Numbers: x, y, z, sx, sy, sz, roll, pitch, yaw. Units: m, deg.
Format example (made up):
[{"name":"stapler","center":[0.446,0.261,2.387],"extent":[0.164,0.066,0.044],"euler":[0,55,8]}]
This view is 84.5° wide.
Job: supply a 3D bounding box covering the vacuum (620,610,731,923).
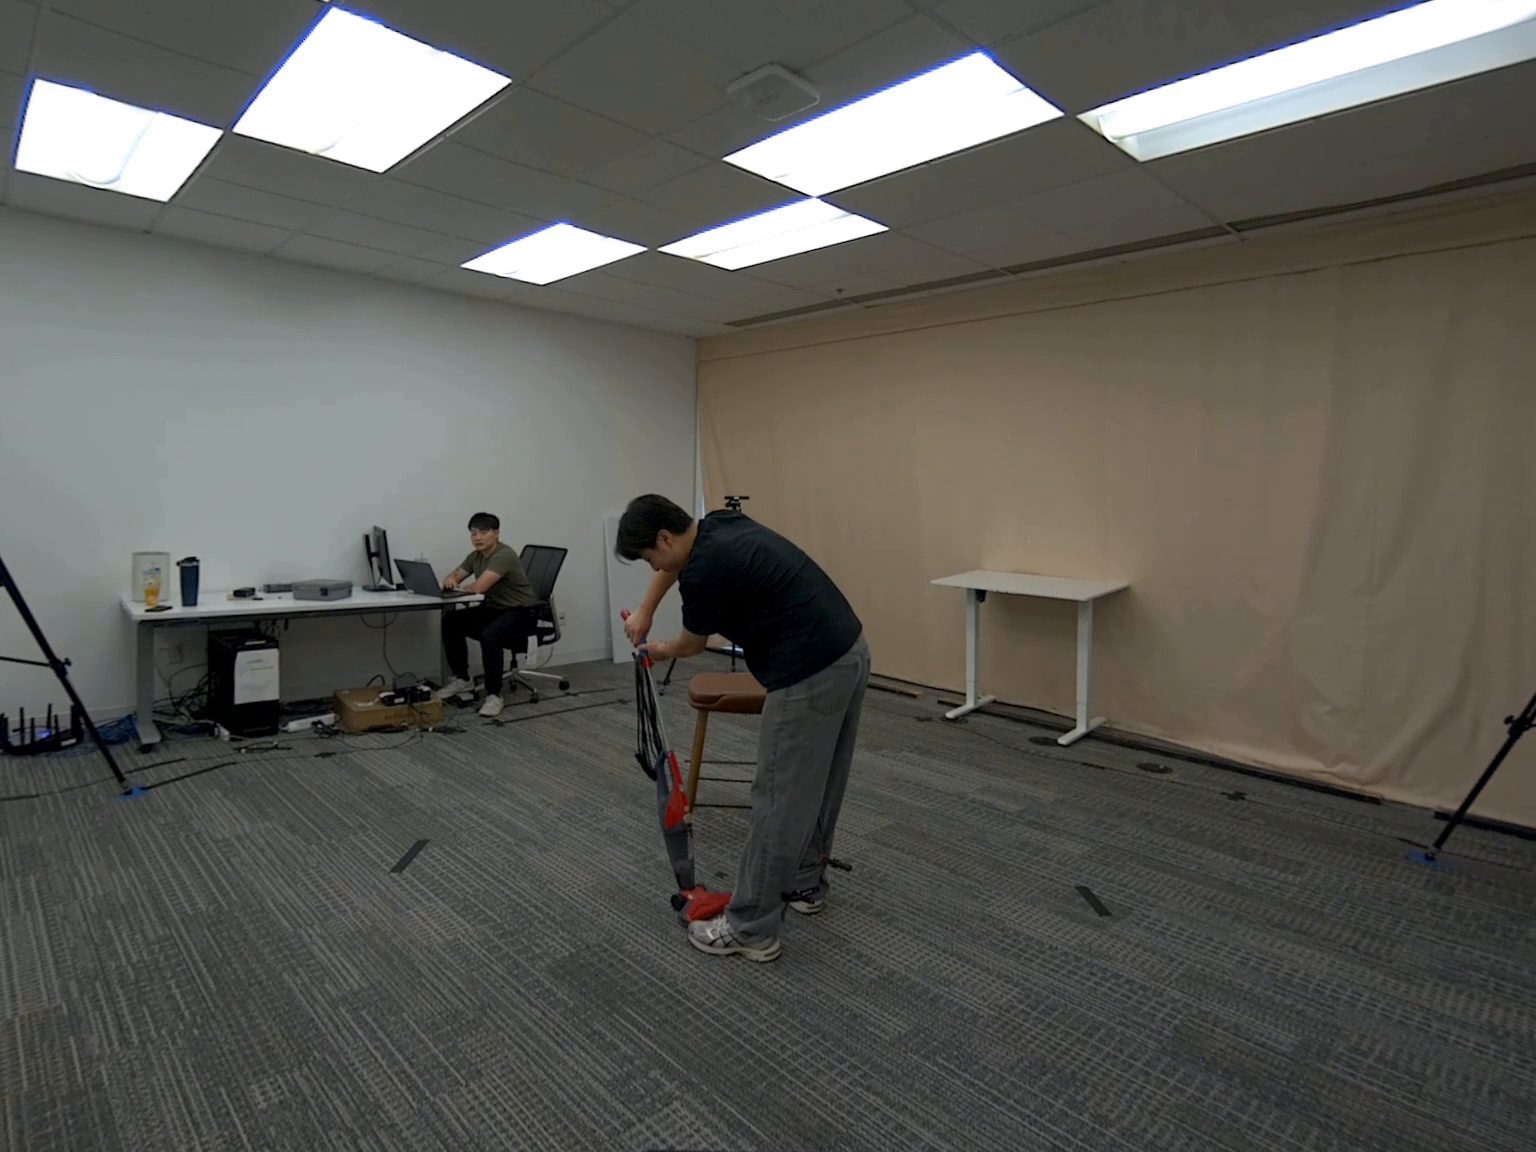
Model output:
[{"name":"vacuum","center":[-0.383,0.637,2.970],"extent":[0.145,1.064,0.246],"euler":[-26,-17,29]}]
